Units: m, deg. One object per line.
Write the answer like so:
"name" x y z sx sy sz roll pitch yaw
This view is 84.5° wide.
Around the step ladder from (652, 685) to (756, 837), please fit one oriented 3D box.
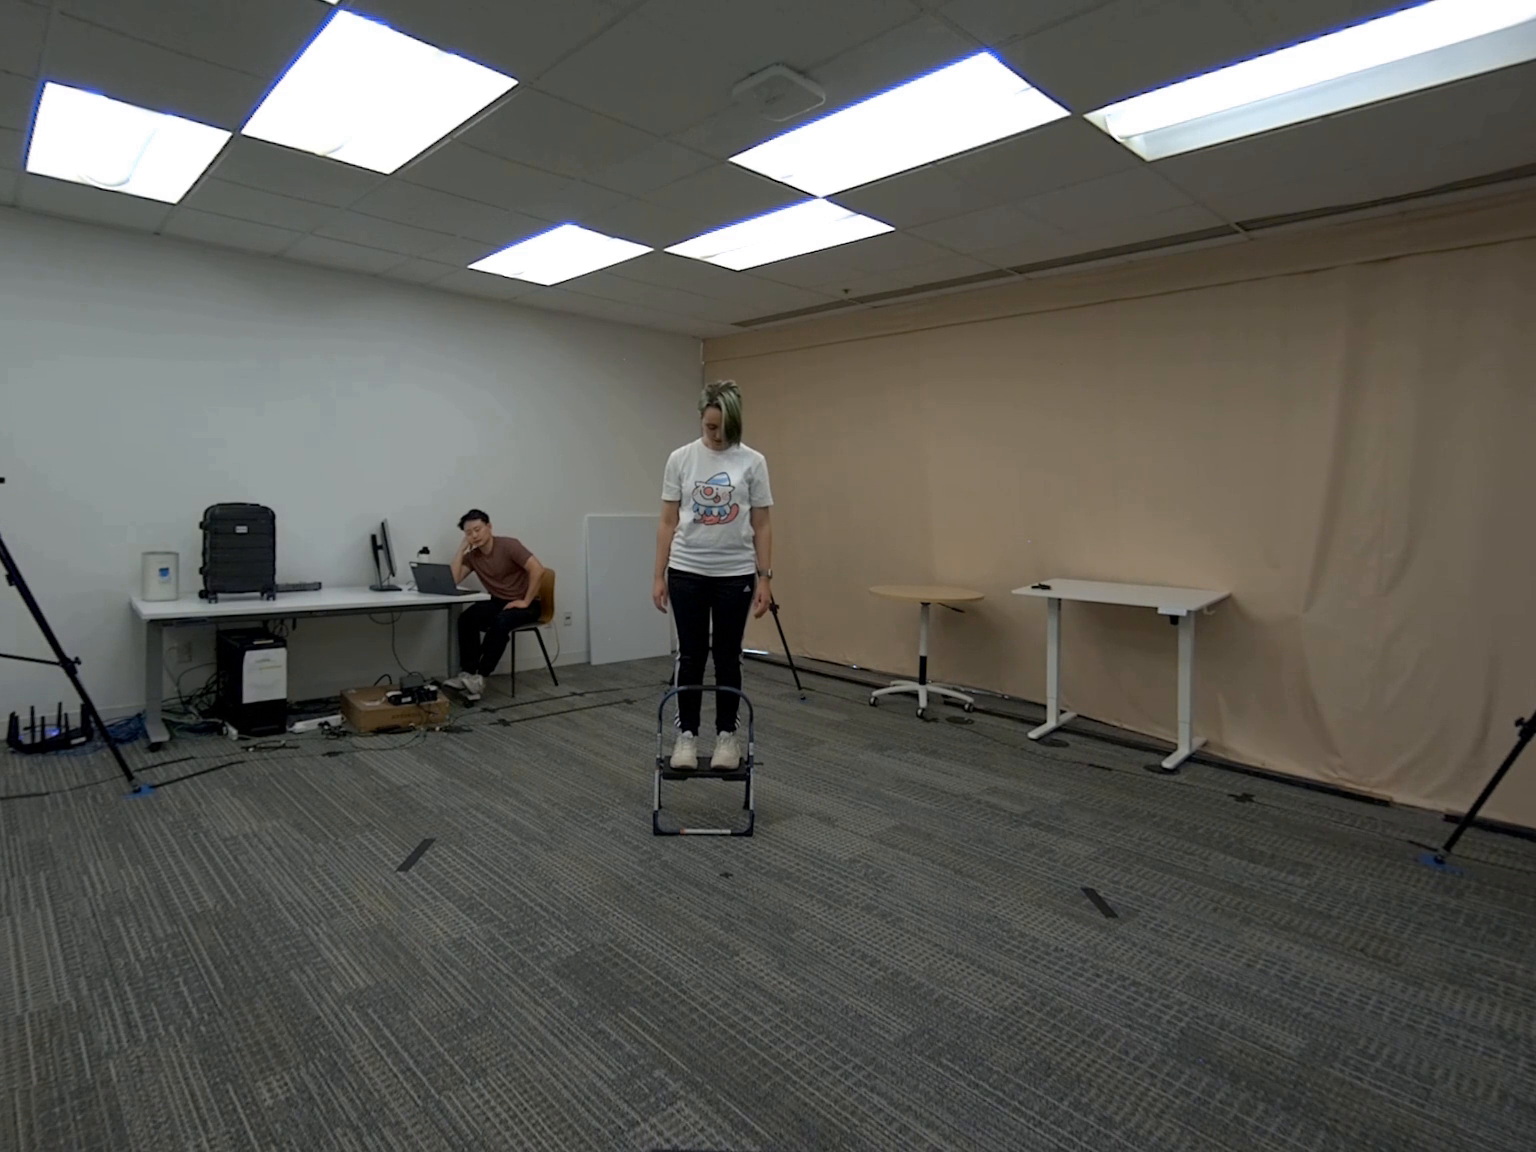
"step ladder" -0.282 0.757 3.613 0.429 0.605 0.351 1 2 -4
